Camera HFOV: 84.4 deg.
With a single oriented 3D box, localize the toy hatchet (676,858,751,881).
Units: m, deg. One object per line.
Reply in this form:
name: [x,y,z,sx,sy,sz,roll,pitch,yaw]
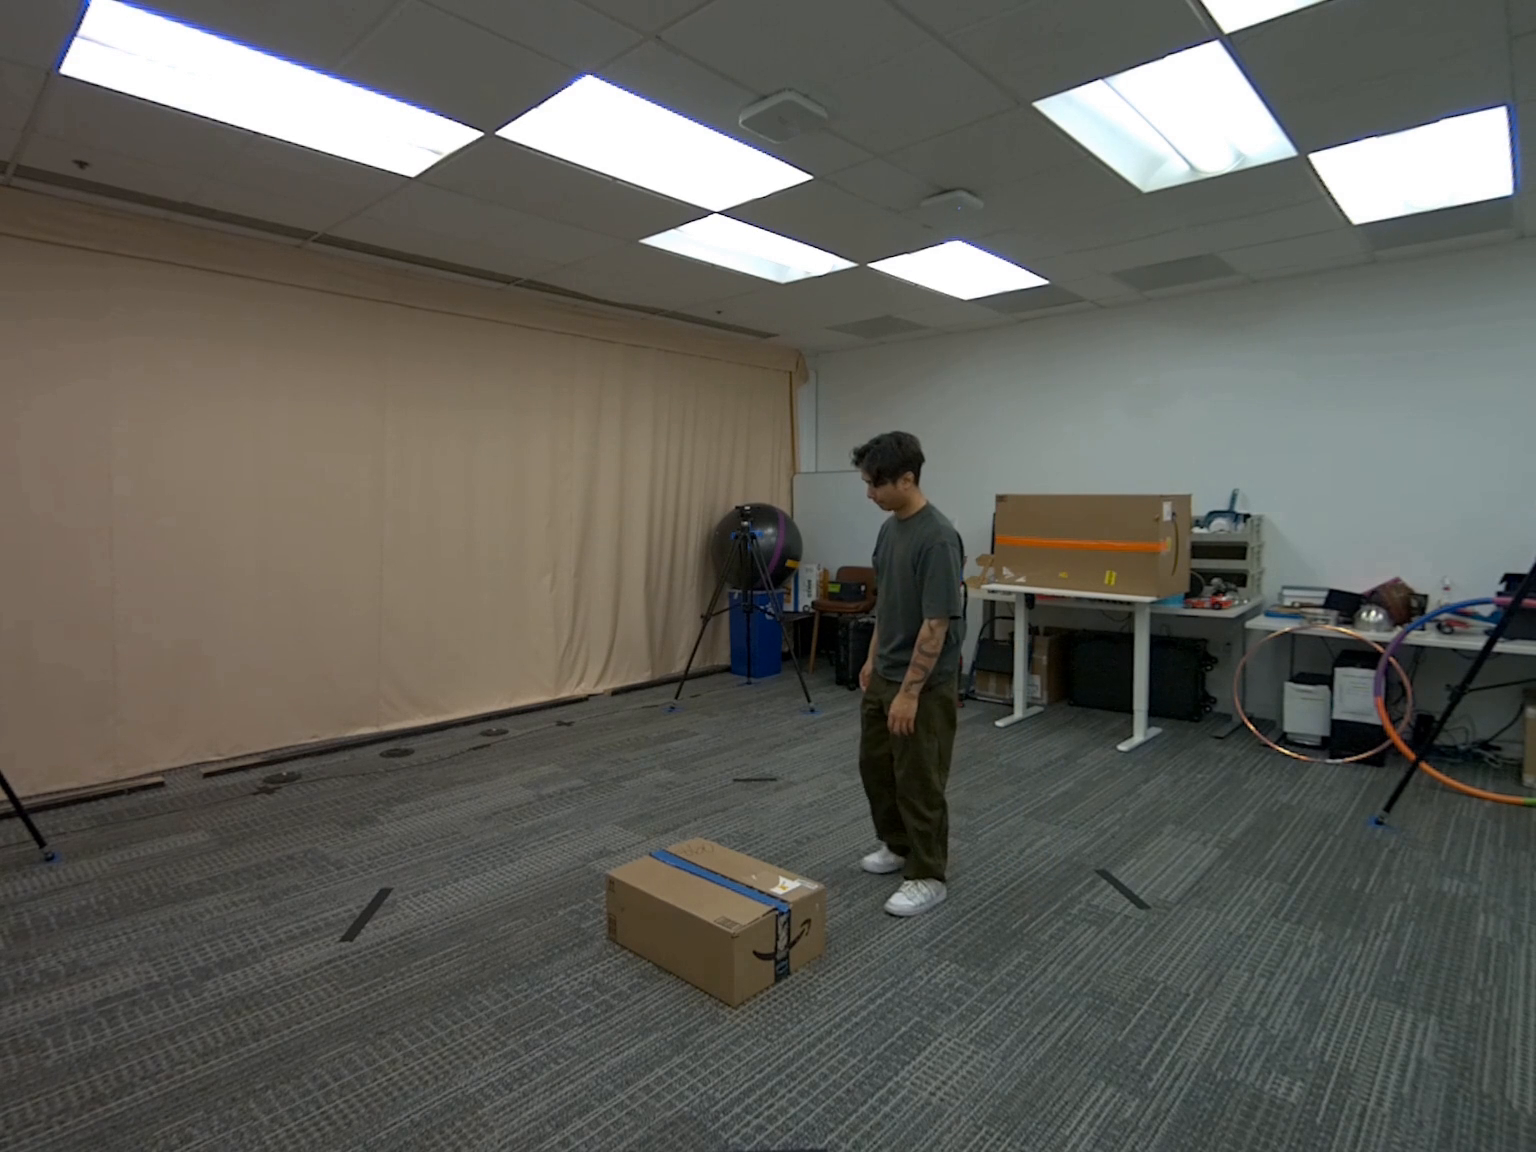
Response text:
toy hatchet: [-0.214,1.122,3.248,0.268,0.029,0.132,1,0,-8]
